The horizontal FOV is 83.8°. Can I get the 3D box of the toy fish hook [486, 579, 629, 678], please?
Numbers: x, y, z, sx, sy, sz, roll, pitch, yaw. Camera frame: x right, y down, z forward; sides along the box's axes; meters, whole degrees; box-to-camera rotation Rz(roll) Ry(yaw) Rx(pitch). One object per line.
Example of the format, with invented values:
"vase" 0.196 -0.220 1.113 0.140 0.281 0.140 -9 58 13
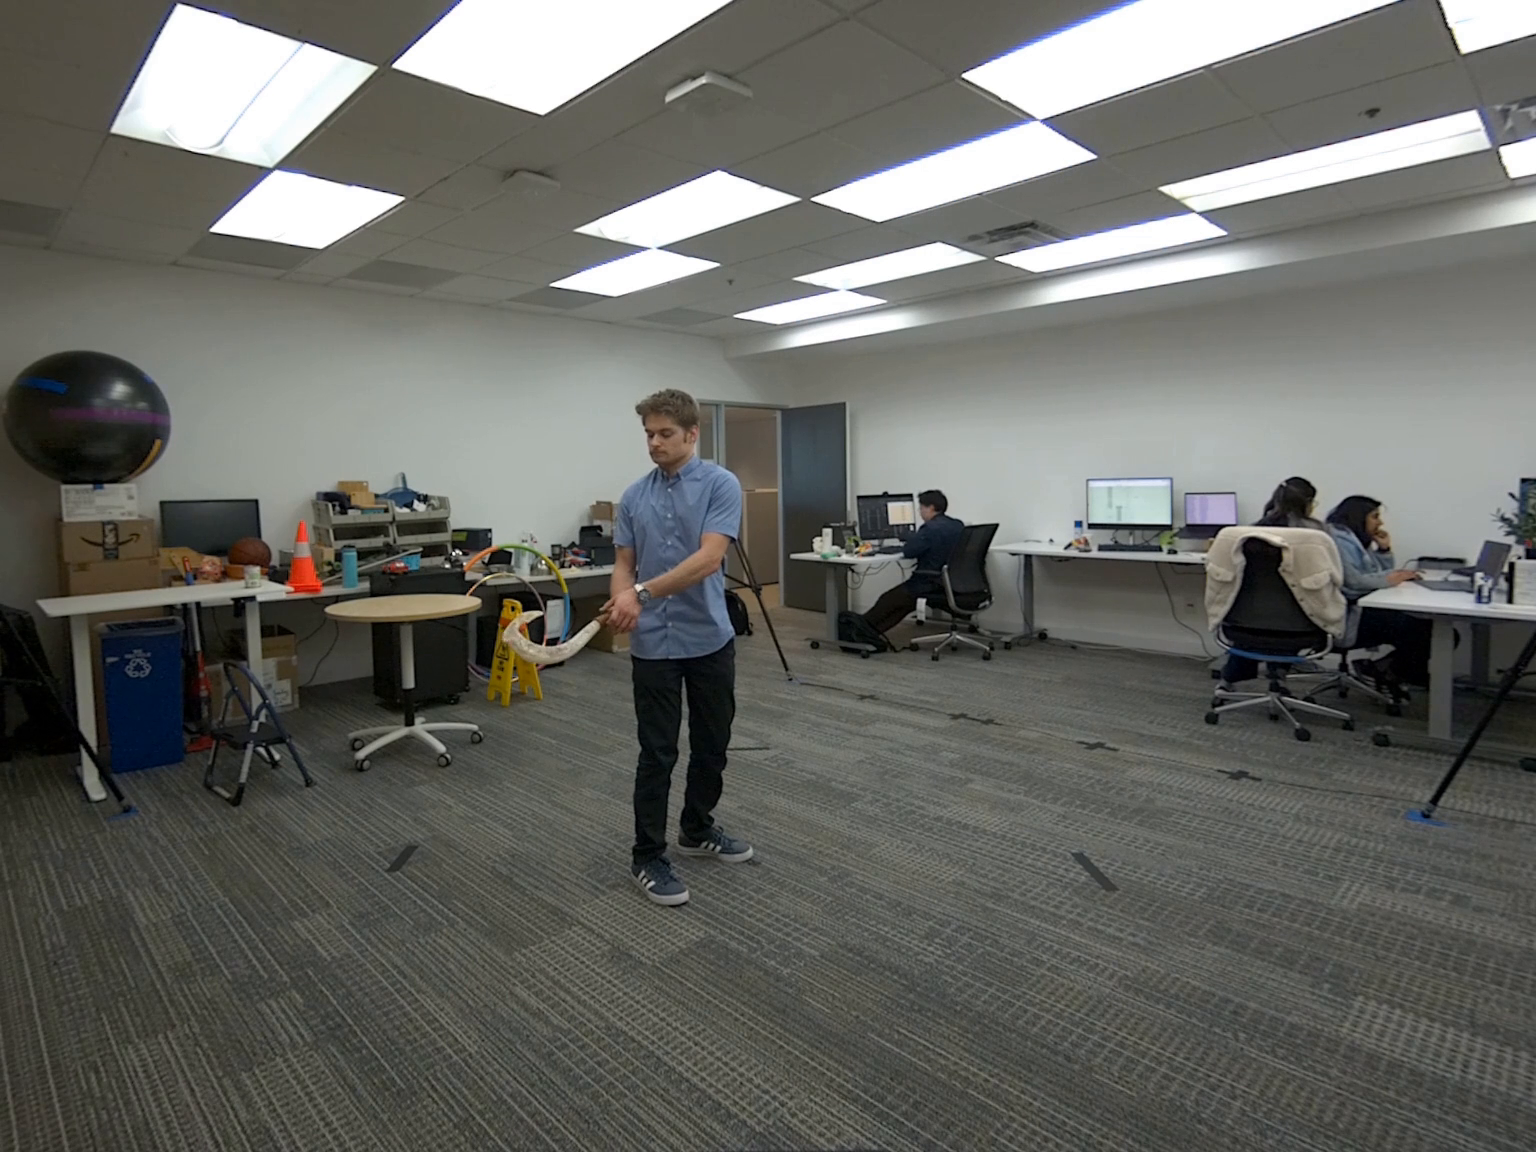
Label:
"toy fish hook" -0.595 0.147 2.658 0.231 0.048 0.497 40 33 23
